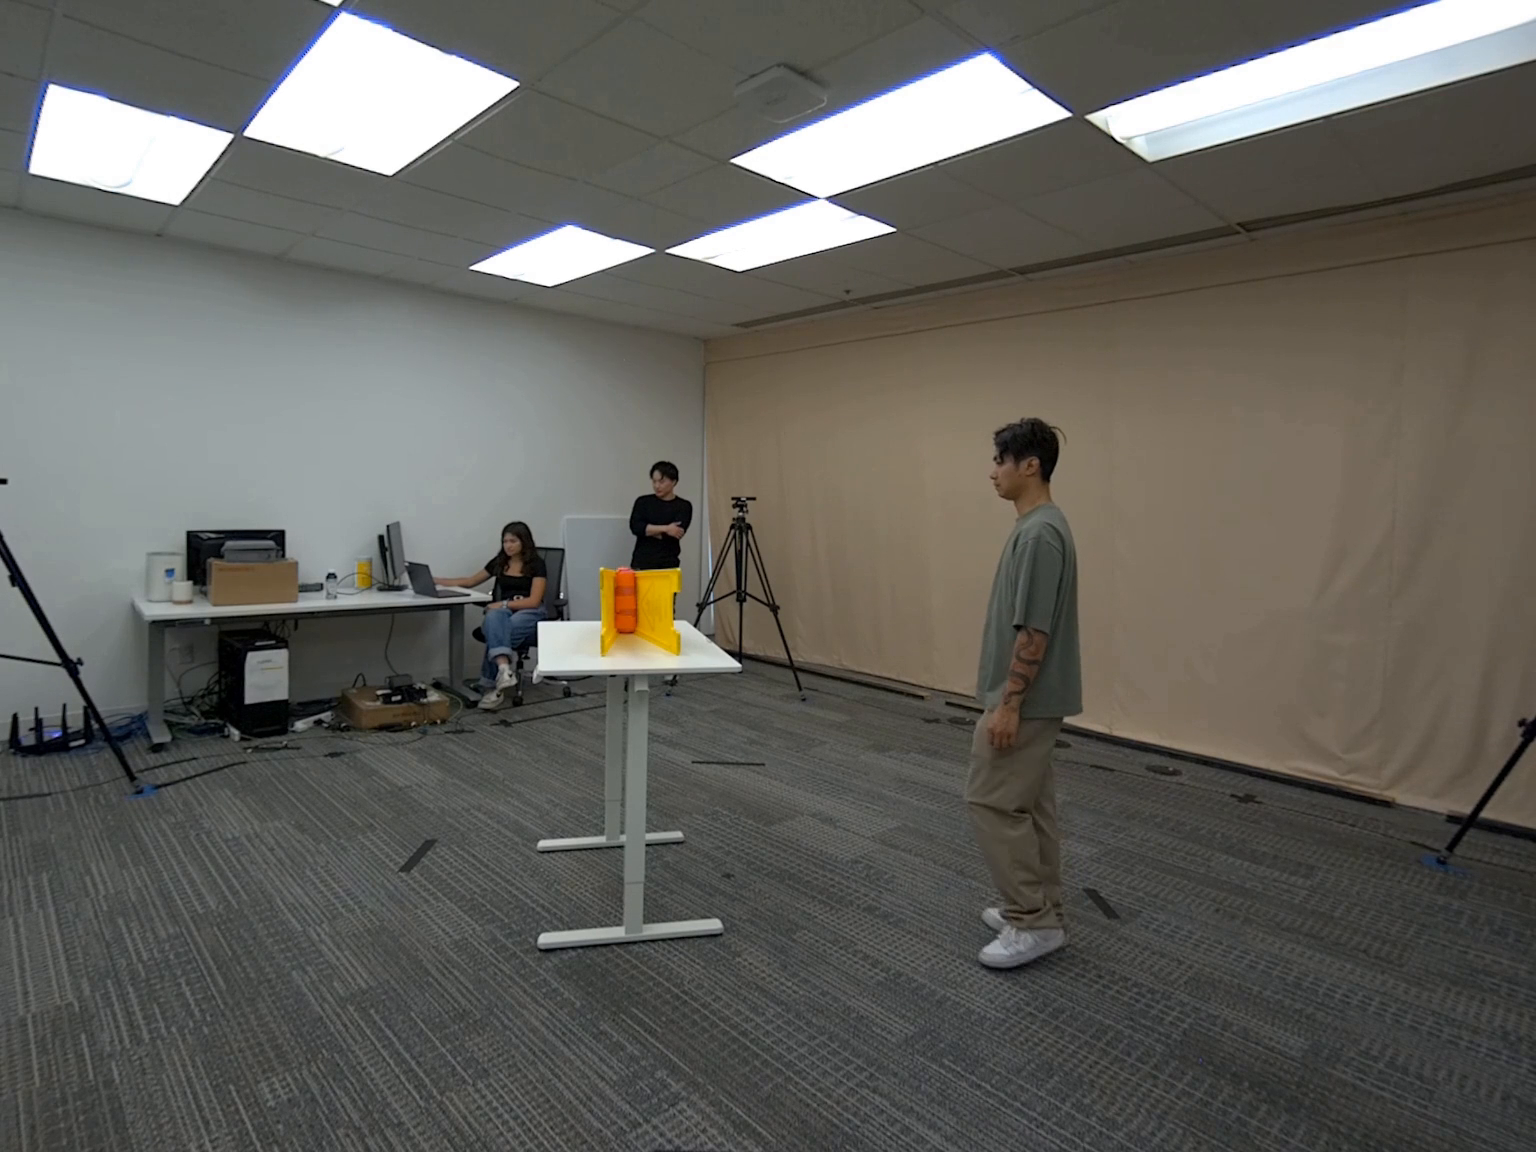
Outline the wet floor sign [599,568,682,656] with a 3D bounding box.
[{"bbox_3d":[-0.499,0.106,2.988,0.286,0.282,0.653,1,2,-14],"label":"wet floor sign"}]
